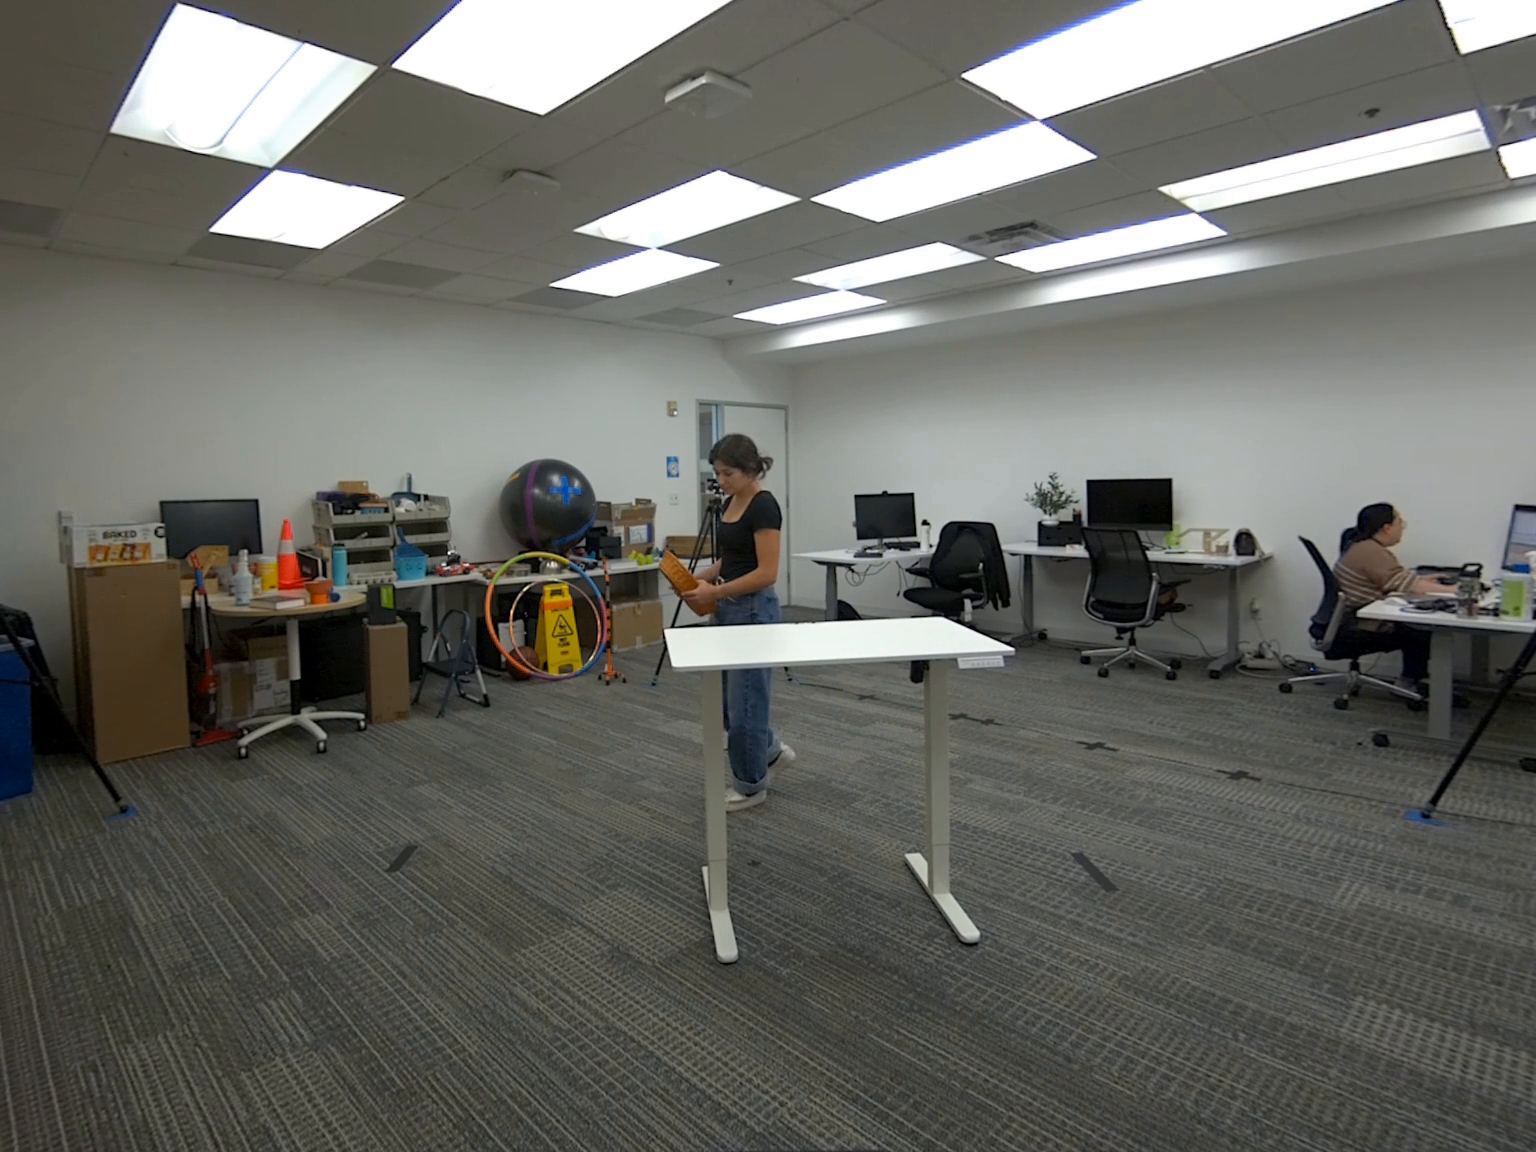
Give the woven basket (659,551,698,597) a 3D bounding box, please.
[{"bbox_3d":[-0.341,0.041,3.539,0.073,0.344,0.257,-42,15,-12],"label":"woven basket"}]
